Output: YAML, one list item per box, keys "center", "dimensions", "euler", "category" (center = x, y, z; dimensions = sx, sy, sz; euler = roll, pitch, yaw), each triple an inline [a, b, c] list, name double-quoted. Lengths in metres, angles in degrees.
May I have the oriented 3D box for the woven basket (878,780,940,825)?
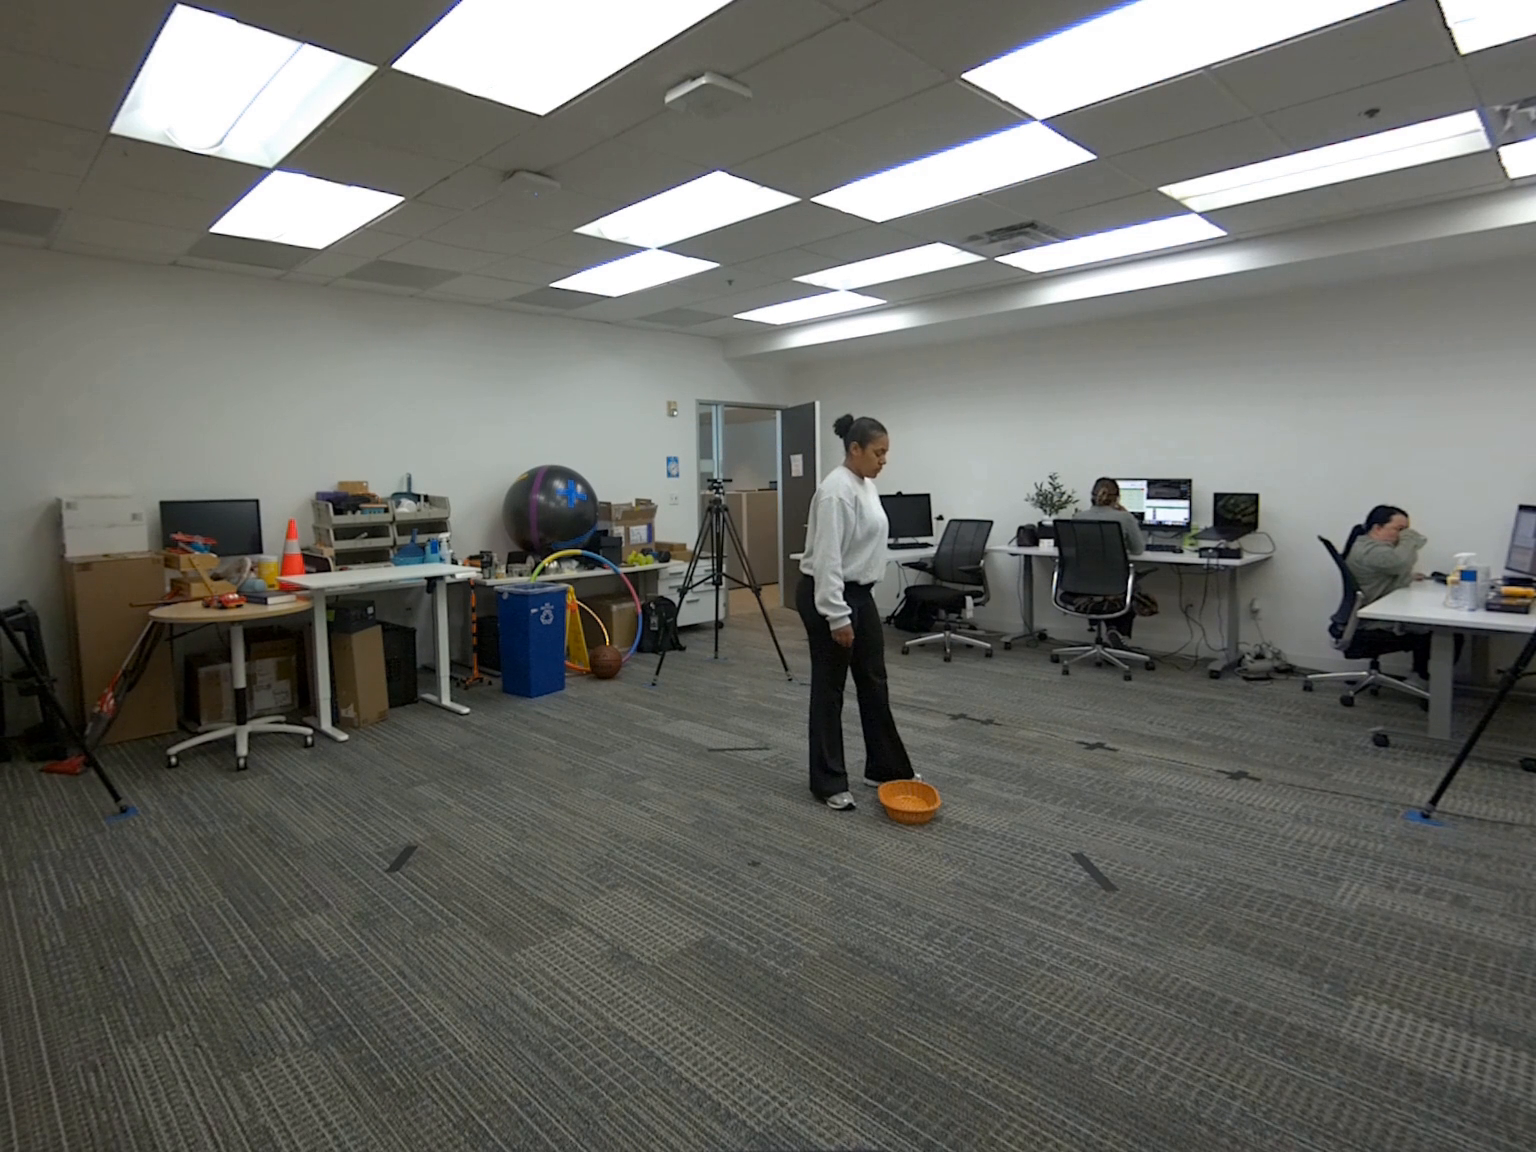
- center: [0.589, 0.943, 3.567]
  dimensions: [0.254, 0.073, 0.350]
  euler: [-1, 6, 6]
  category: "woven basket"
